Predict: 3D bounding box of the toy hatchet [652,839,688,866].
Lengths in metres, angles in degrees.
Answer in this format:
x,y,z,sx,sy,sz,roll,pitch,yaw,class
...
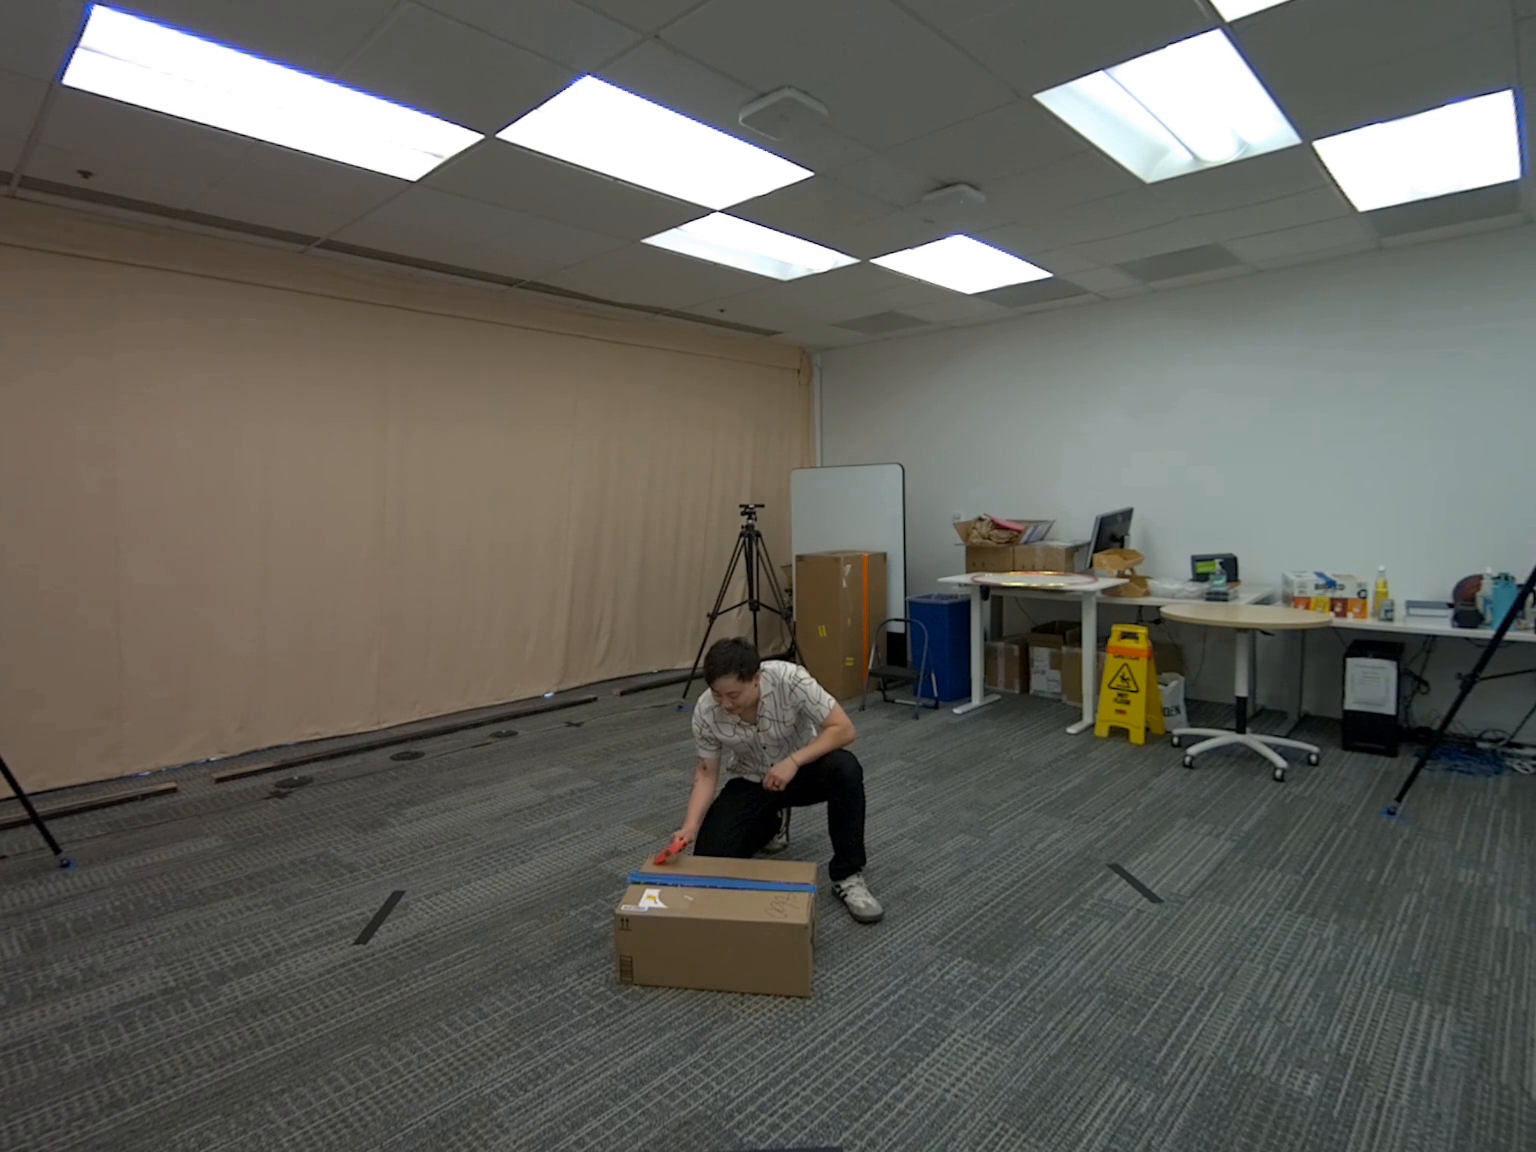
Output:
x,y,z,sx,sy,sz,roll,pitch,yaw,class
-0.316,0.920,2.852,0.130,0.030,0.268,-36,-10,-14,toy hatchet
